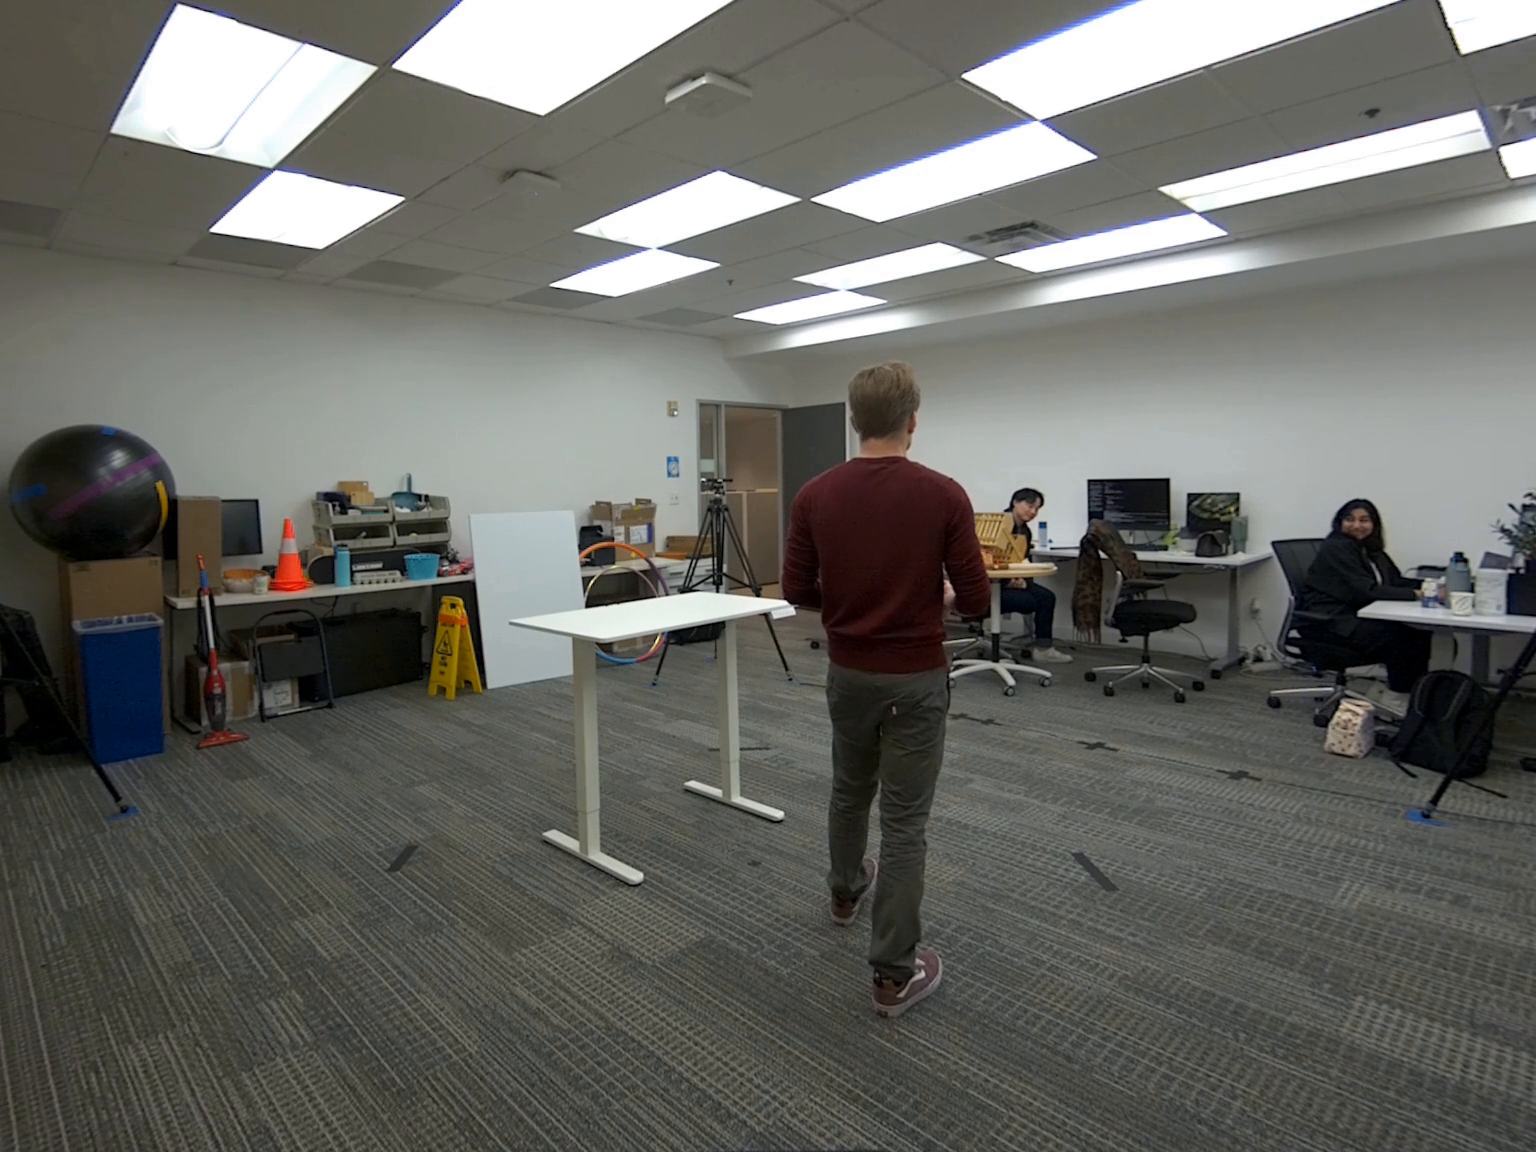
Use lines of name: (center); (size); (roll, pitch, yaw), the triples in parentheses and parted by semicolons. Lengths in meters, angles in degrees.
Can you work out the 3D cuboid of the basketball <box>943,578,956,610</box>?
basketball: (0.451, 0.057, 2.618); (0.236, 0.235, 0.237); (-1, 5, -2)
